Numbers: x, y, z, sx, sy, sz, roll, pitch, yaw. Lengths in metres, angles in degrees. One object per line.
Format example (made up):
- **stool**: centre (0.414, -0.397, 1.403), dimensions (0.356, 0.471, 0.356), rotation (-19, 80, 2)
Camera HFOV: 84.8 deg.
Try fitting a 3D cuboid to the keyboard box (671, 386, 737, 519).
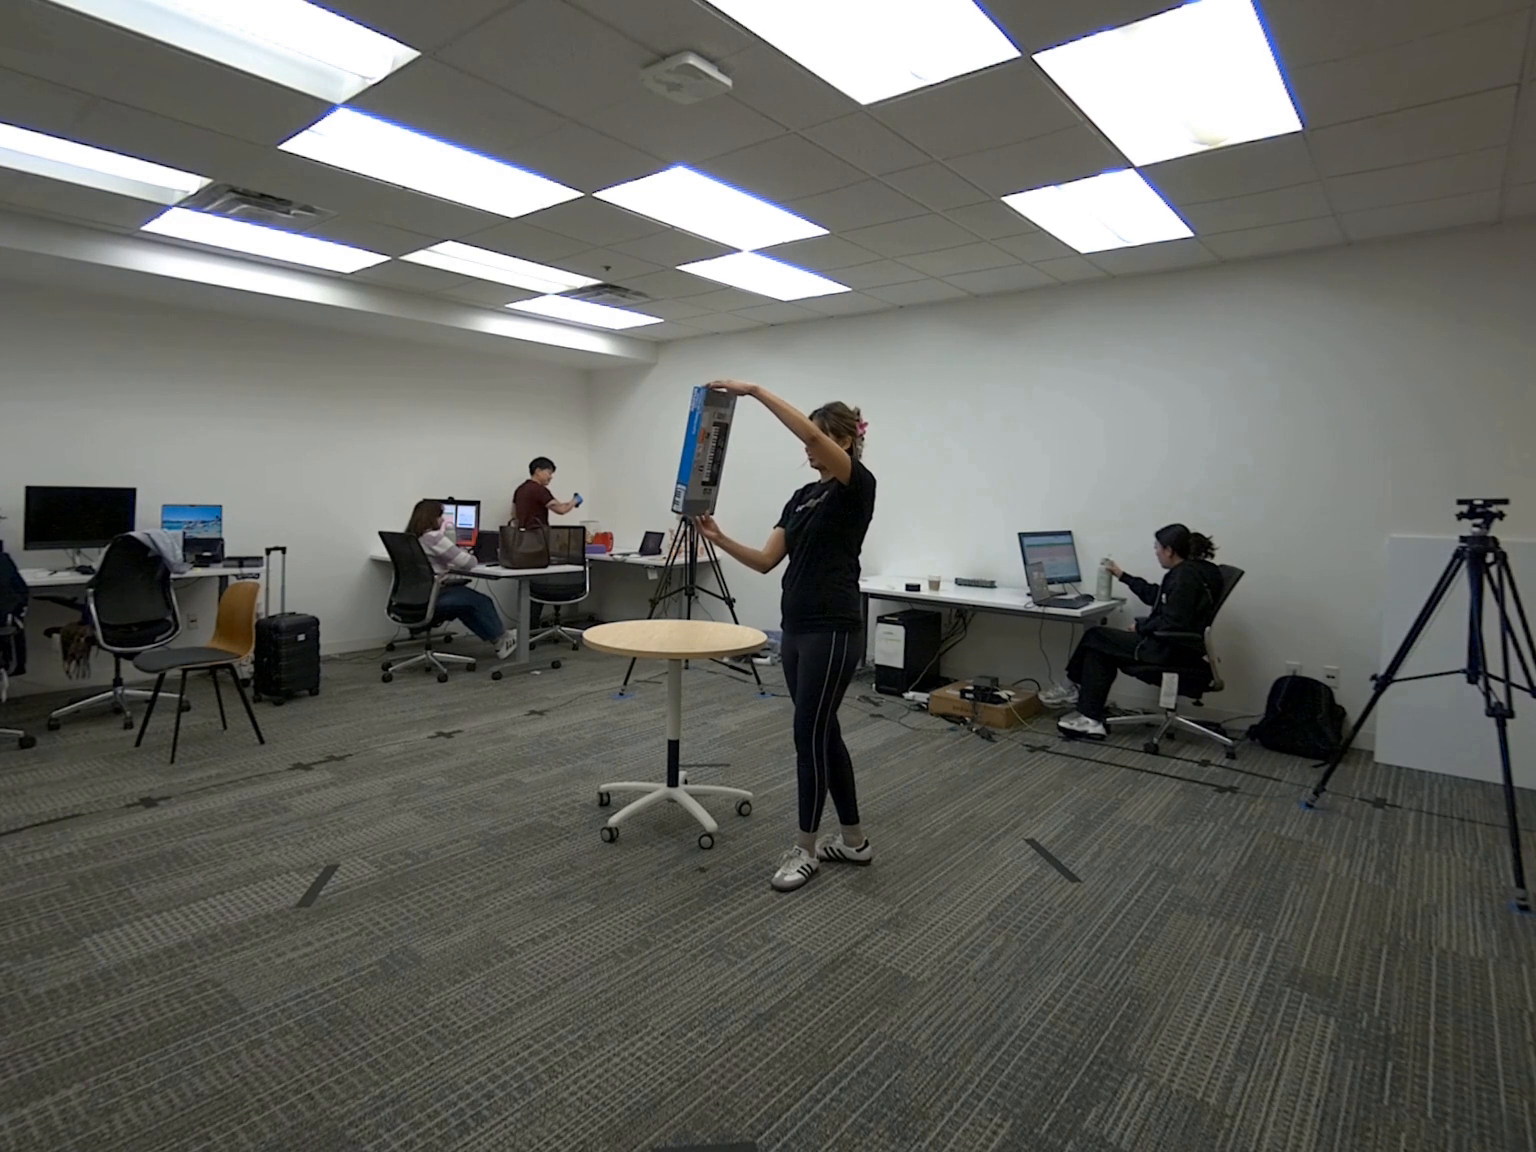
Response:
- **keyboard box**: centre (-0.232, -0.428, 2.948), dimensions (0.061, 0.433, 0.171), rotation (21, 14, 34)
